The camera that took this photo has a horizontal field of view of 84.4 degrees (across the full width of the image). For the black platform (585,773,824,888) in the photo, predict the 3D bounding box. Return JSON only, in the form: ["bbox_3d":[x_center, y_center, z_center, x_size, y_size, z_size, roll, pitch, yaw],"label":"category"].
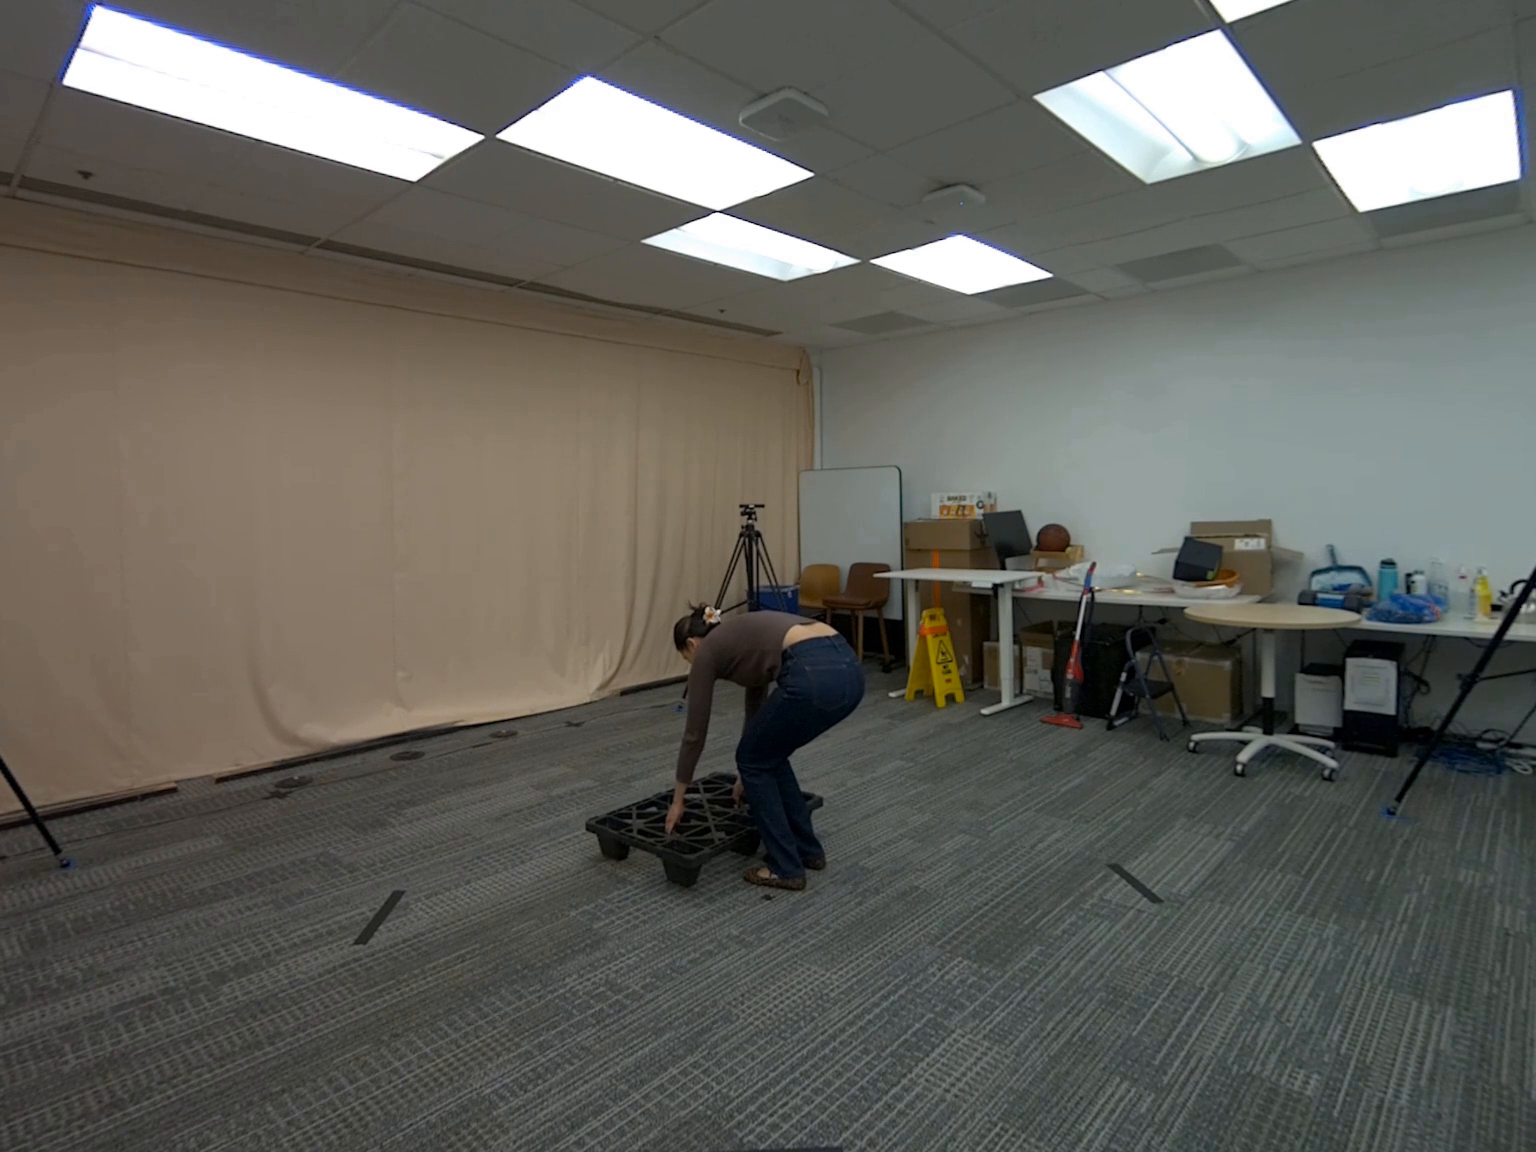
[{"bbox_3d":[-0.236,1.008,3.416,0.625,0.143,0.782,3,7,41],"label":"black platform"}]
